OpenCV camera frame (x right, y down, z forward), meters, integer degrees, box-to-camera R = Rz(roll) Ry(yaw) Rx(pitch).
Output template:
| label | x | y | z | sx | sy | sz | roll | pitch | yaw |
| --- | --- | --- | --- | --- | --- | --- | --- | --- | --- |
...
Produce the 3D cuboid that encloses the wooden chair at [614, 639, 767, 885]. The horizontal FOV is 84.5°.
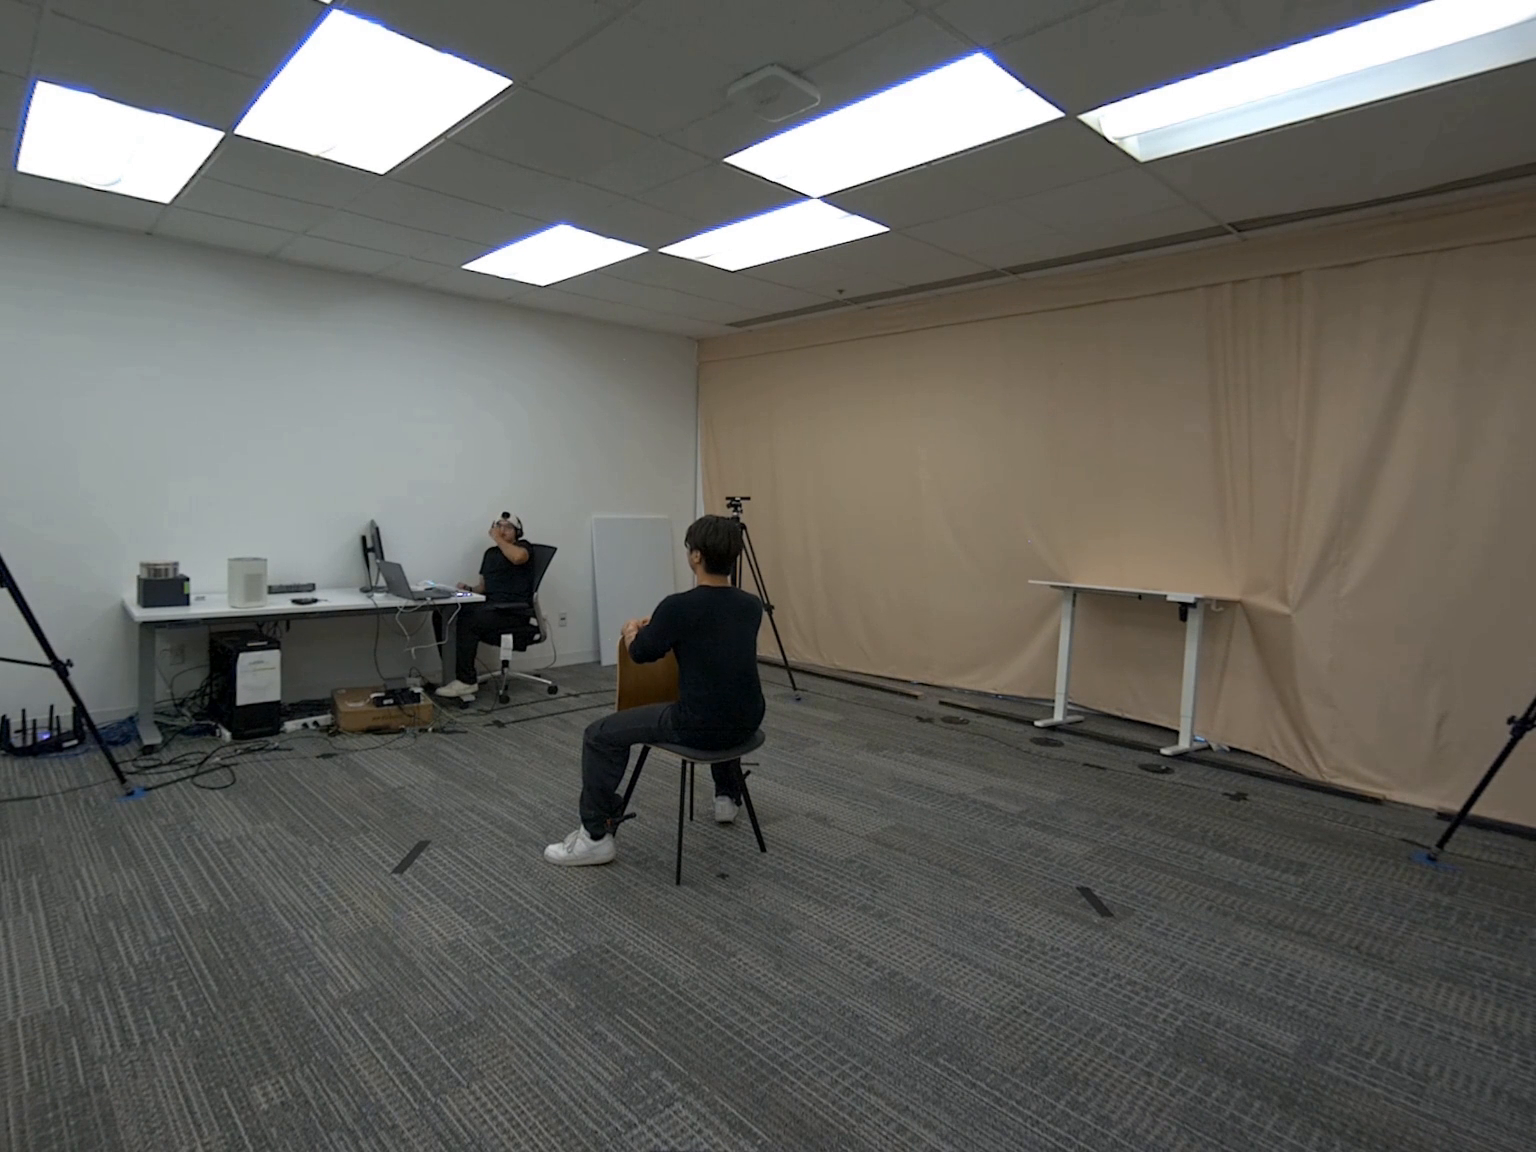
| label | x | y | z | sx | sy | sz | roll | pitch | yaw |
| --- | --- | --- | --- | --- | --- | --- | --- | --- | --- |
| wooden chair | -0.306 | 0.652 | 3.293 | 0.467 | 0.877 | 0.535 | -2 | 1 | -43 |
